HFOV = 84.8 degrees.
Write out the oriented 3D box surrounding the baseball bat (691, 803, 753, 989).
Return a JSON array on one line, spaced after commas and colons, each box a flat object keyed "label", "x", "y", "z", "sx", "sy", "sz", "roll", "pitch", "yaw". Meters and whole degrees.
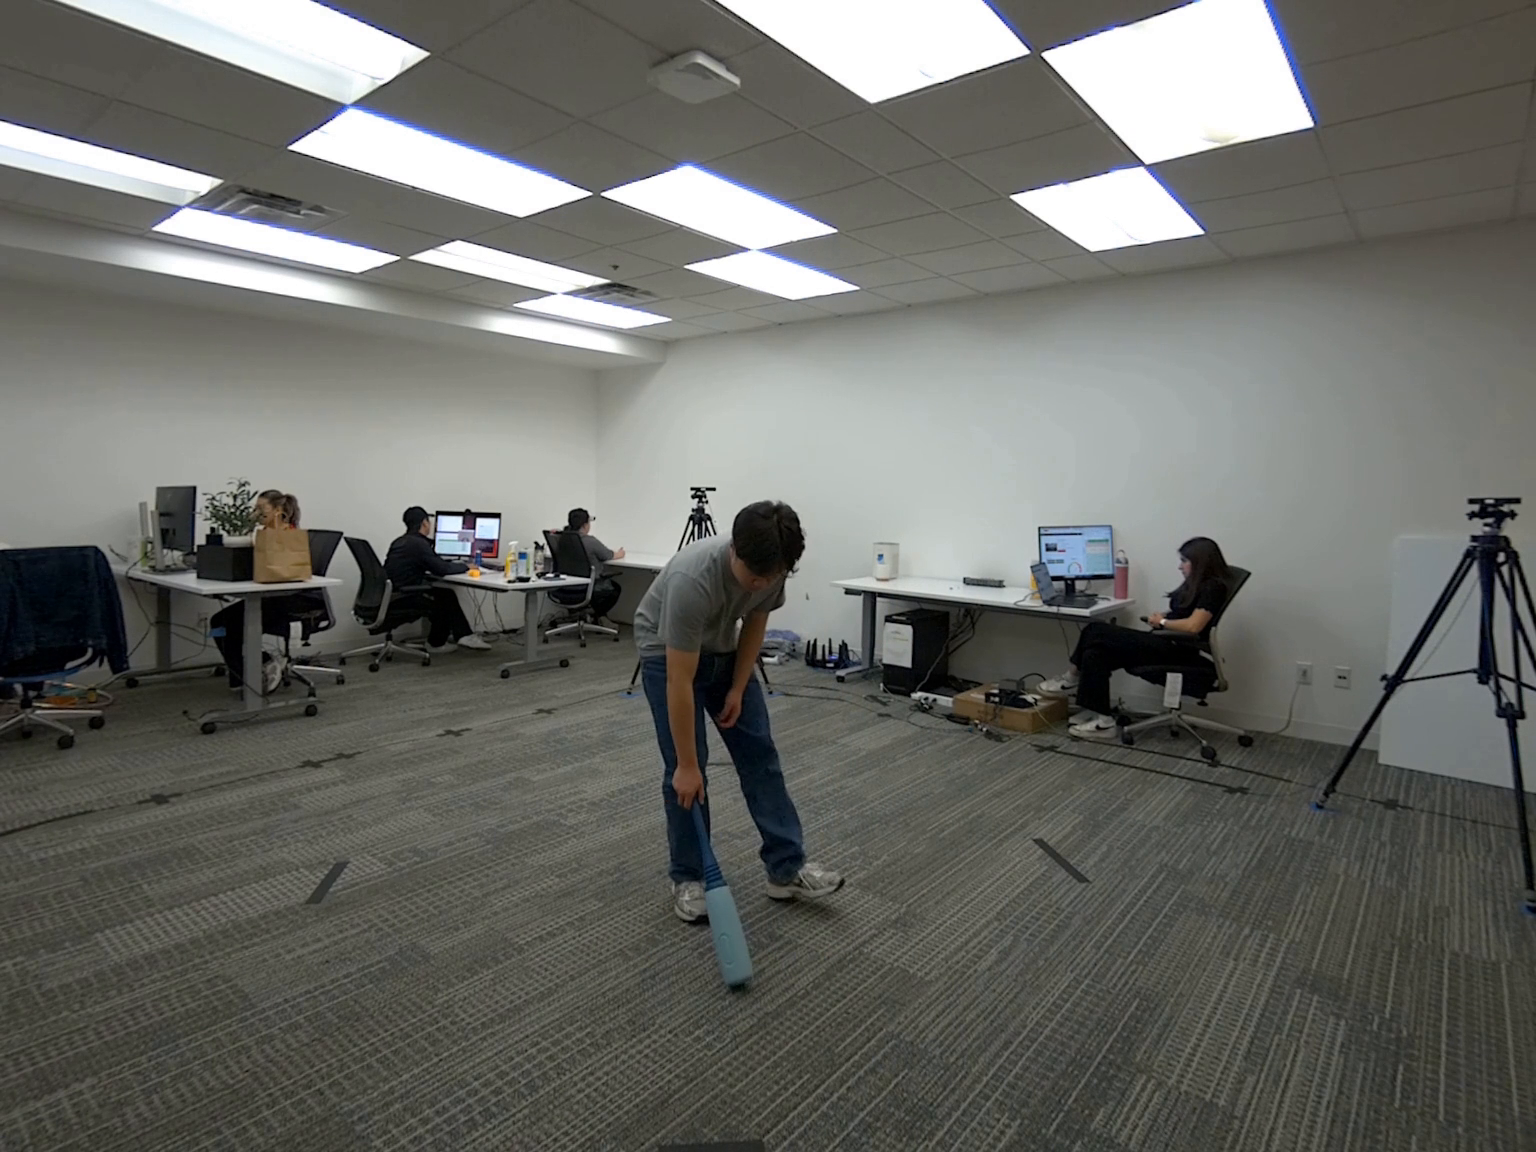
[{"label": "baseball bat", "x": -0.154, "y": 0.897, "z": 2.494, "sx": 0.088, "sy": 0.560, "sz": 0.087, "roll": -14, "pitch": -29, "yaw": -10}]
